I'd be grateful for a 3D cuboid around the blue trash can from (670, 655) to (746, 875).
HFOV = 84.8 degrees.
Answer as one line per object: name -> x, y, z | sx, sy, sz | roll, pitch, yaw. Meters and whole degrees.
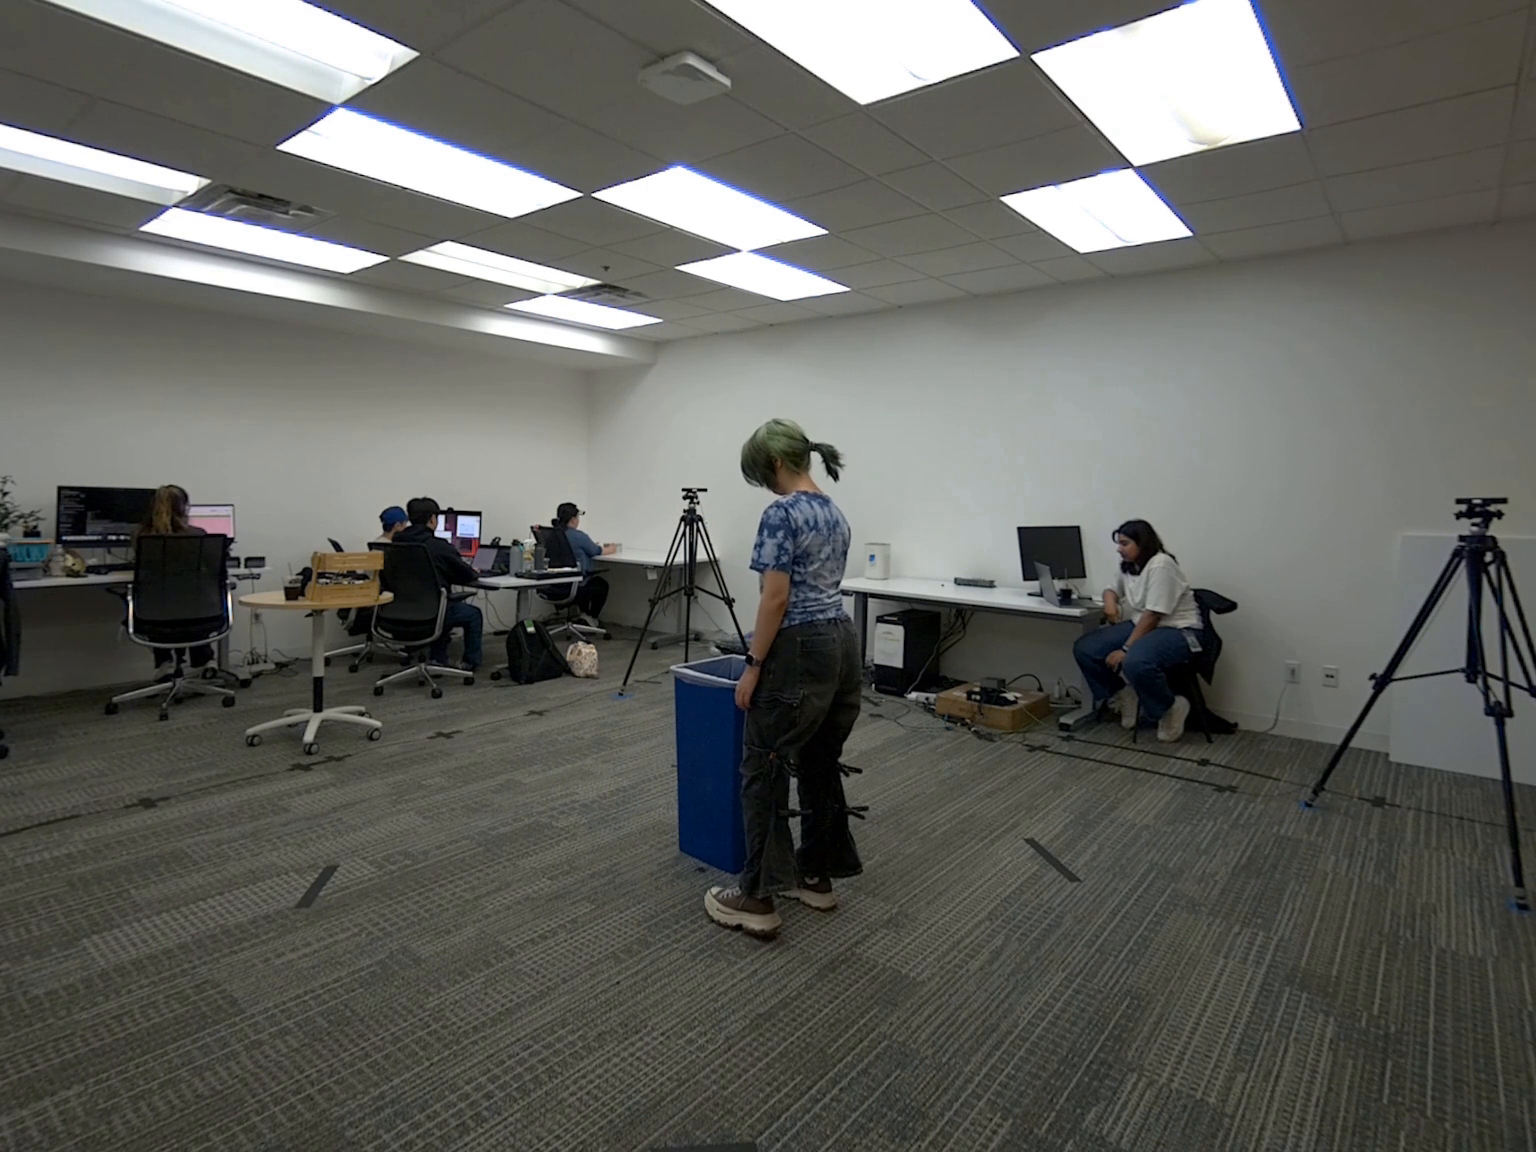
blue trash can -> -0.146, 0.698, 3.250 | 0.391, 0.712, 0.363 | 4, 4, 43
